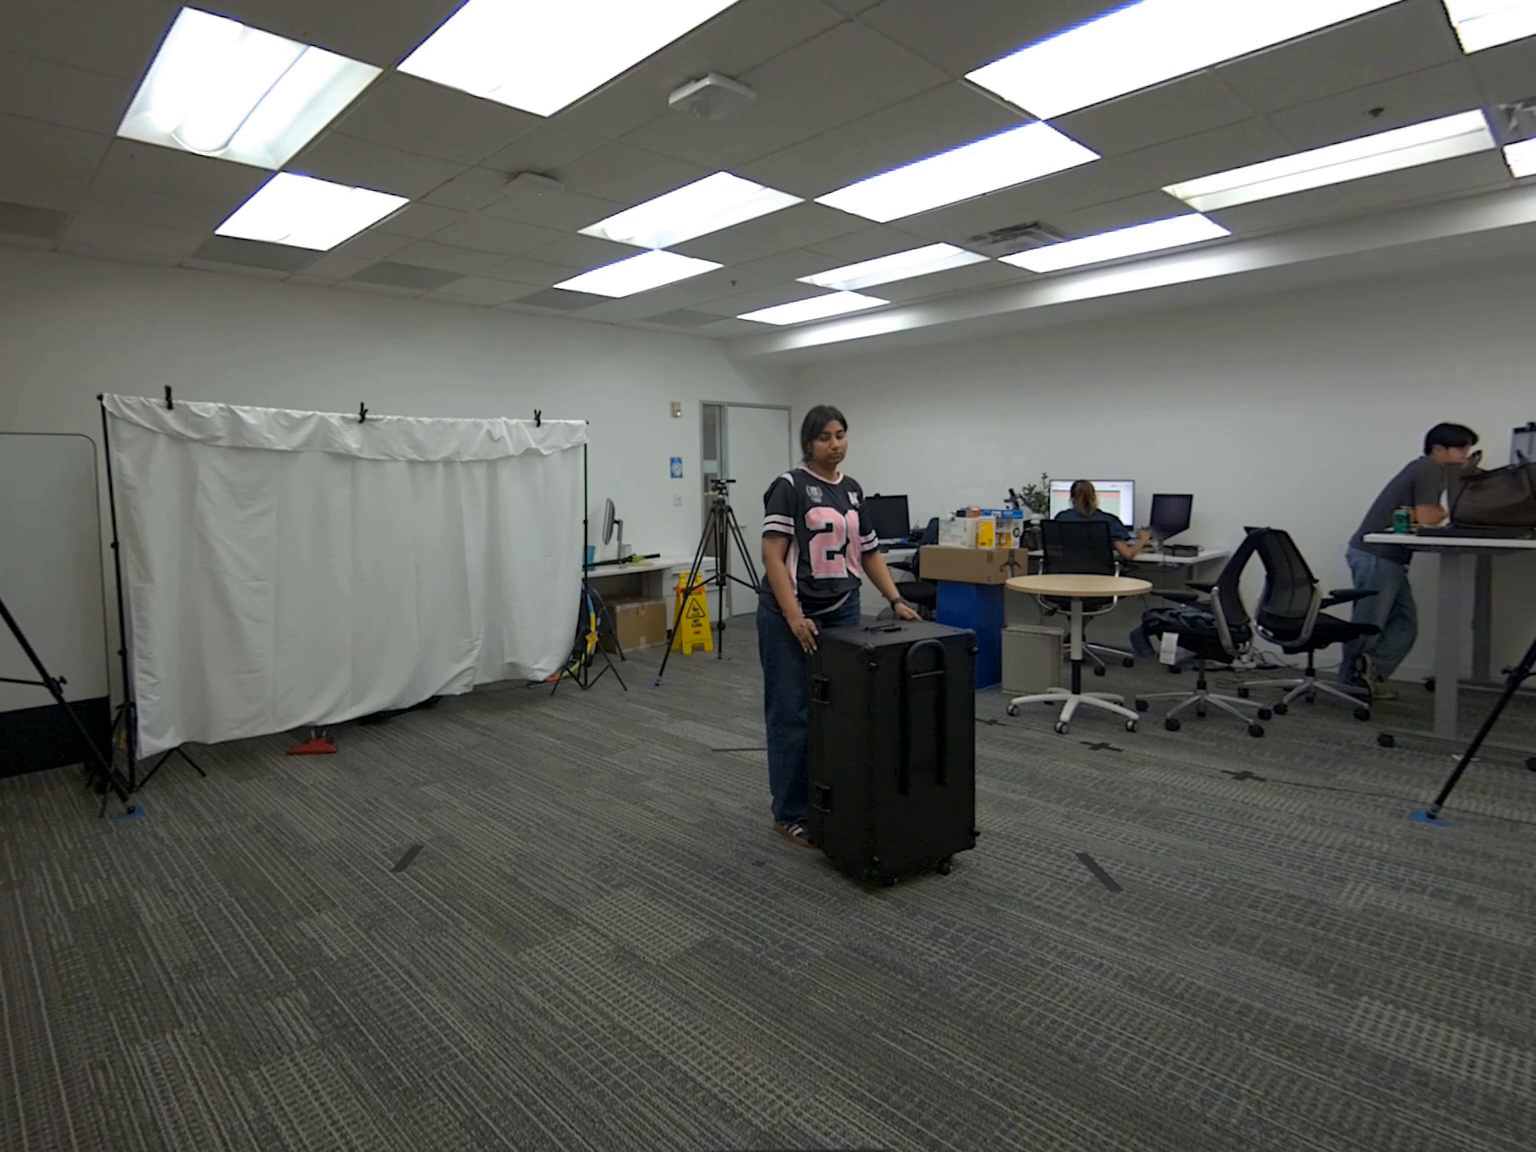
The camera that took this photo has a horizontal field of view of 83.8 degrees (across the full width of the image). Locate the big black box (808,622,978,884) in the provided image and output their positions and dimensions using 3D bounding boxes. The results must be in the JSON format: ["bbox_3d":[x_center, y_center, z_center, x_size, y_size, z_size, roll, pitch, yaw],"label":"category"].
[{"bbox_3d":[0.453,0.622,3.046,0.511,0.865,0.396,-4,5,-29],"label":"big black box"}]
